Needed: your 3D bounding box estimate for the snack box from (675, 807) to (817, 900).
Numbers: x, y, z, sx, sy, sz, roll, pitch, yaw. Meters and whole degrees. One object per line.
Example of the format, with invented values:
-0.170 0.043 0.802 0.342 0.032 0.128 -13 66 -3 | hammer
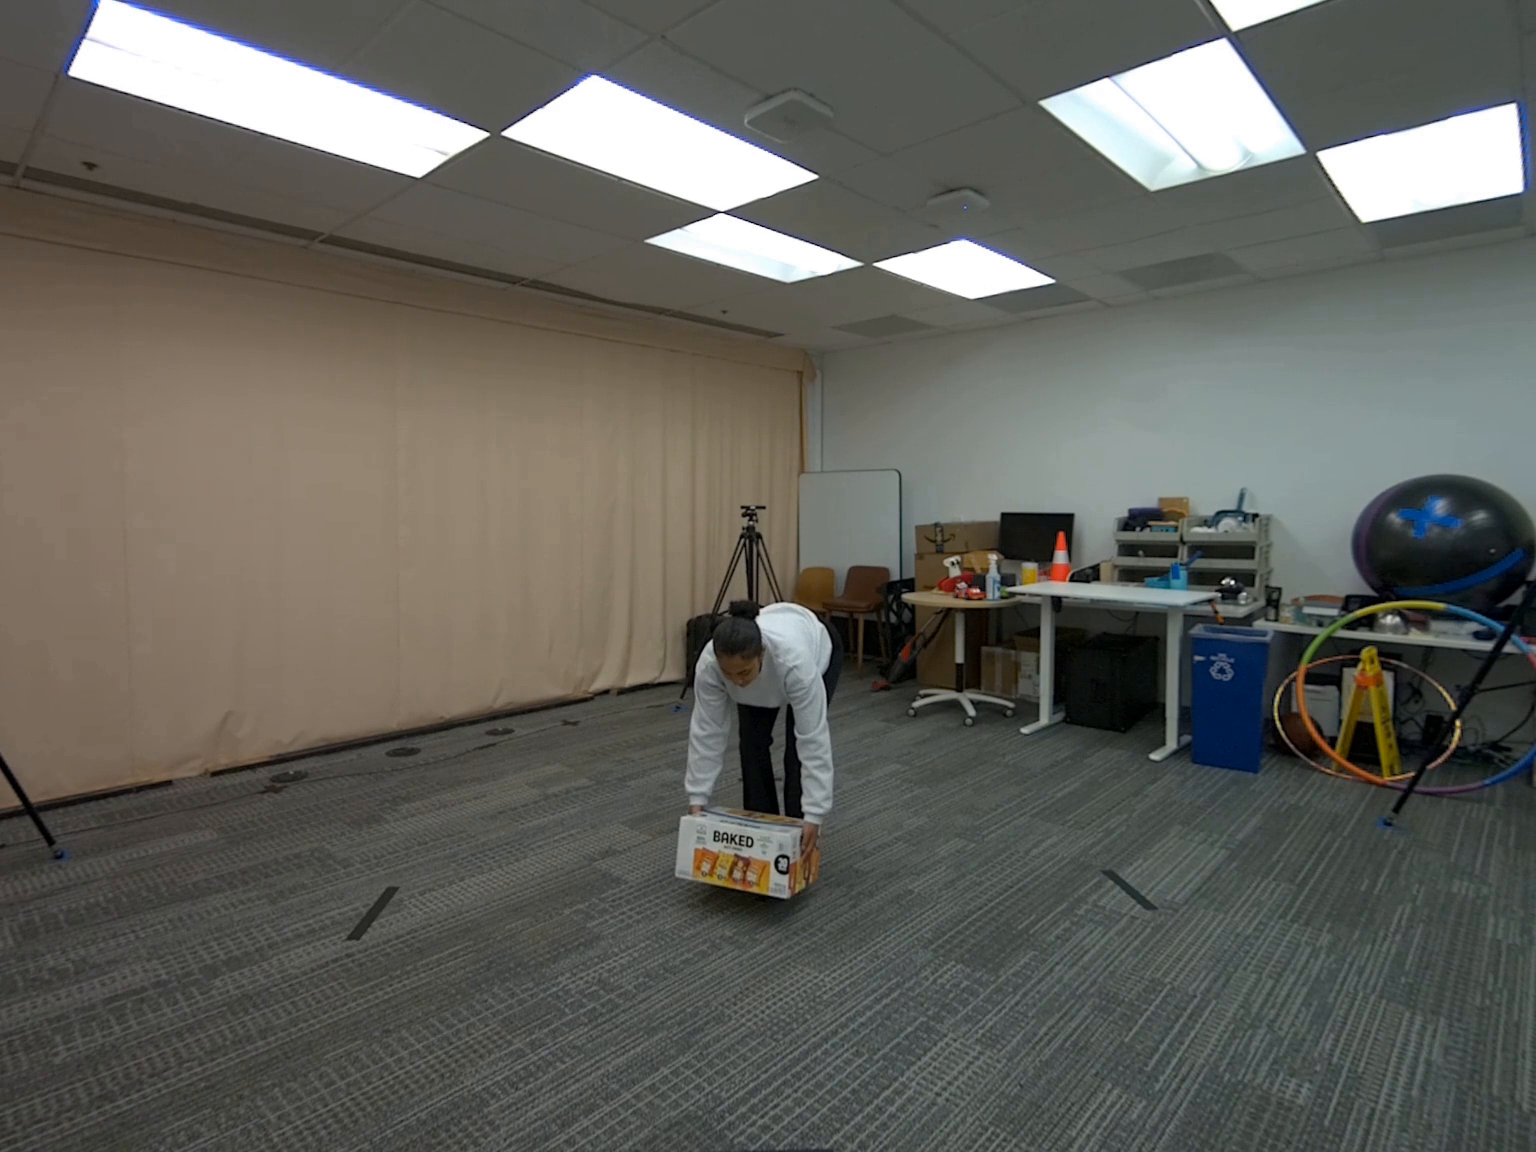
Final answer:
-0.060 0.957 2.975 0.414 0.206 0.331 2 -8 22 | snack box
